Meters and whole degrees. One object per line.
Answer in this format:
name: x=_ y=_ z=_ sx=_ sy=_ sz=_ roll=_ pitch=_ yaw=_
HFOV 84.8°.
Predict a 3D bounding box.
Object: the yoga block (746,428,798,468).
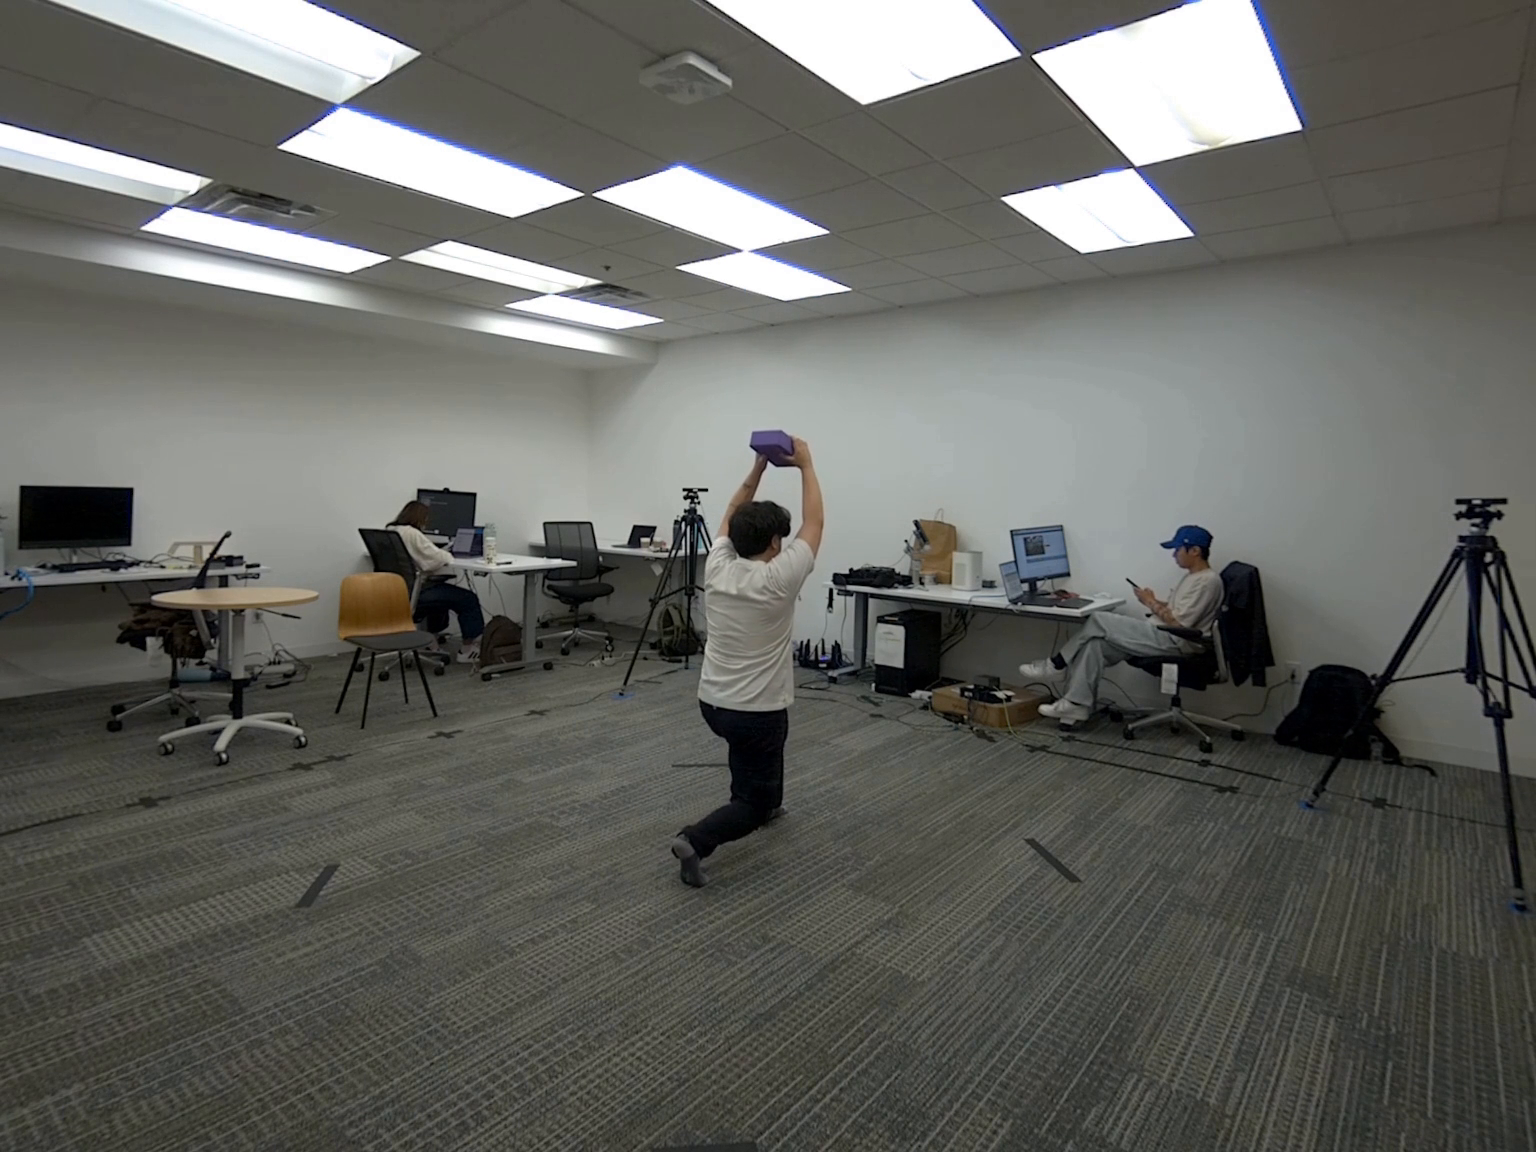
yoga block: x=0.036 y=-0.532 z=3.513 sx=0.154 sy=0.077 sz=0.220 roll=3 pitch=-14 yaw=35
